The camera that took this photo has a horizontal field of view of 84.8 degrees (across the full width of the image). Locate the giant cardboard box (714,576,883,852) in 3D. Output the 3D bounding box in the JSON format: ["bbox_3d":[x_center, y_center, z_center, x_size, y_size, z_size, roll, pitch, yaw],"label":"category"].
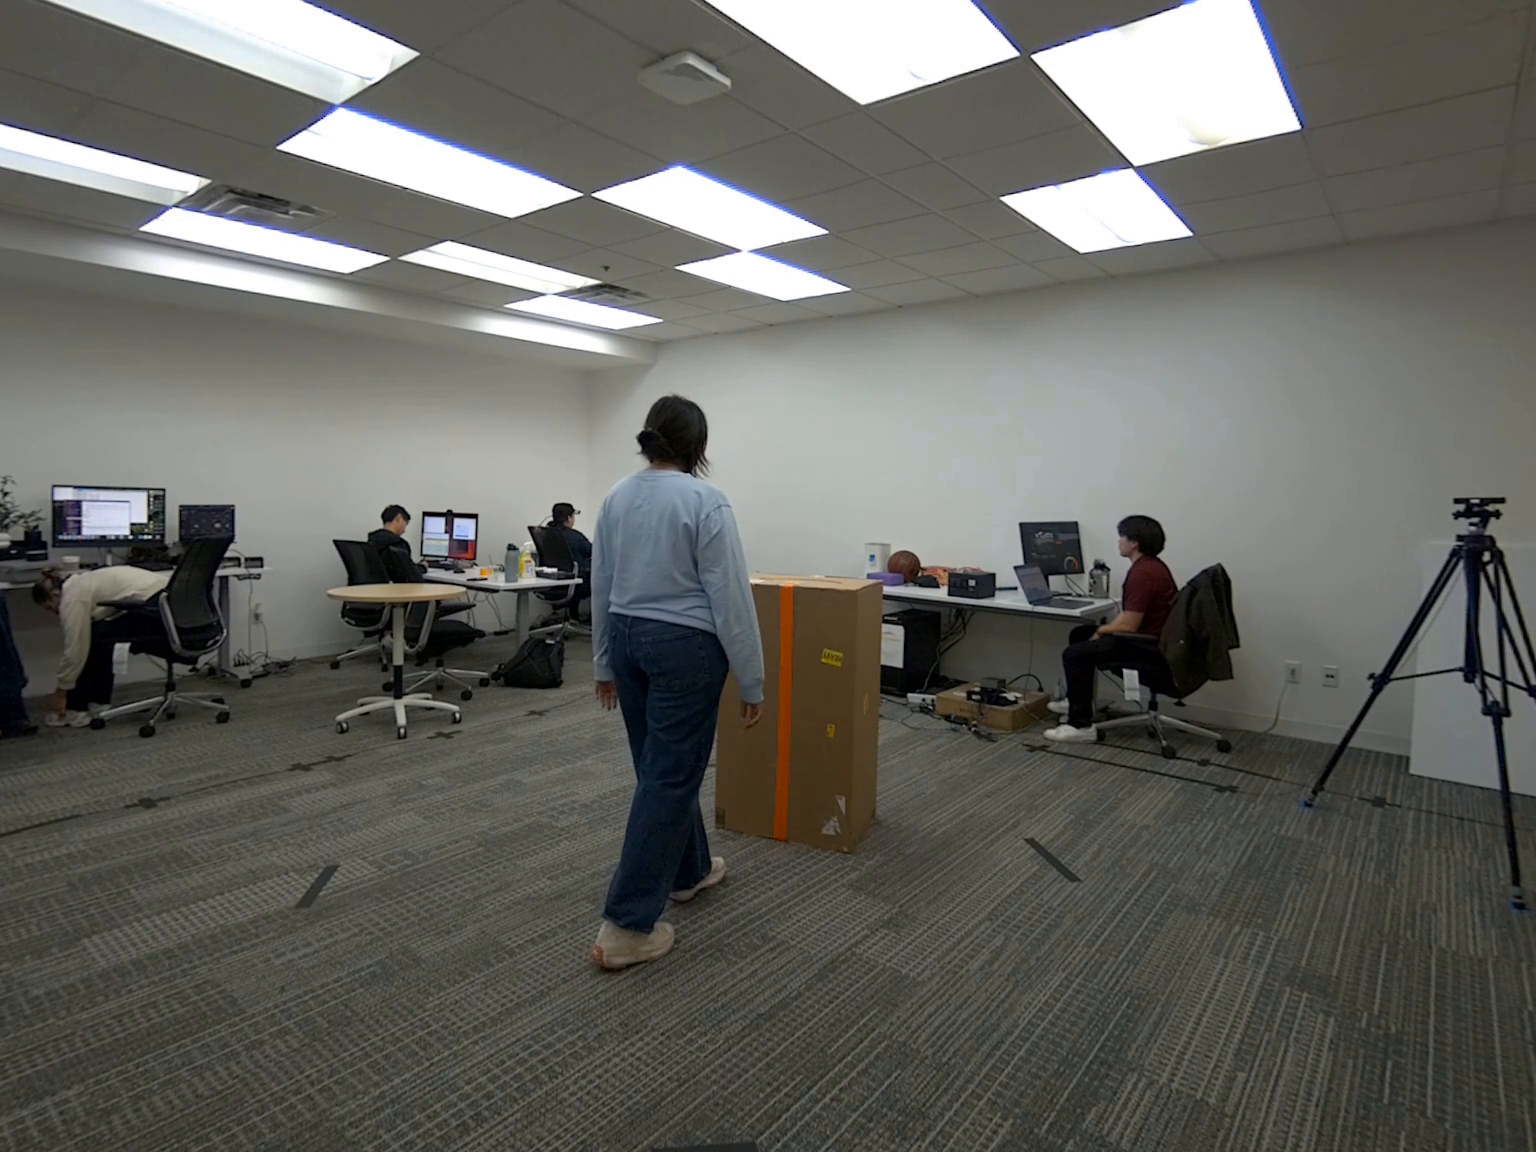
[{"bbox_3d":[0.130,0.522,3.549,0.599,1.024,0.437,3,4,25],"label":"giant cardboard box"}]
